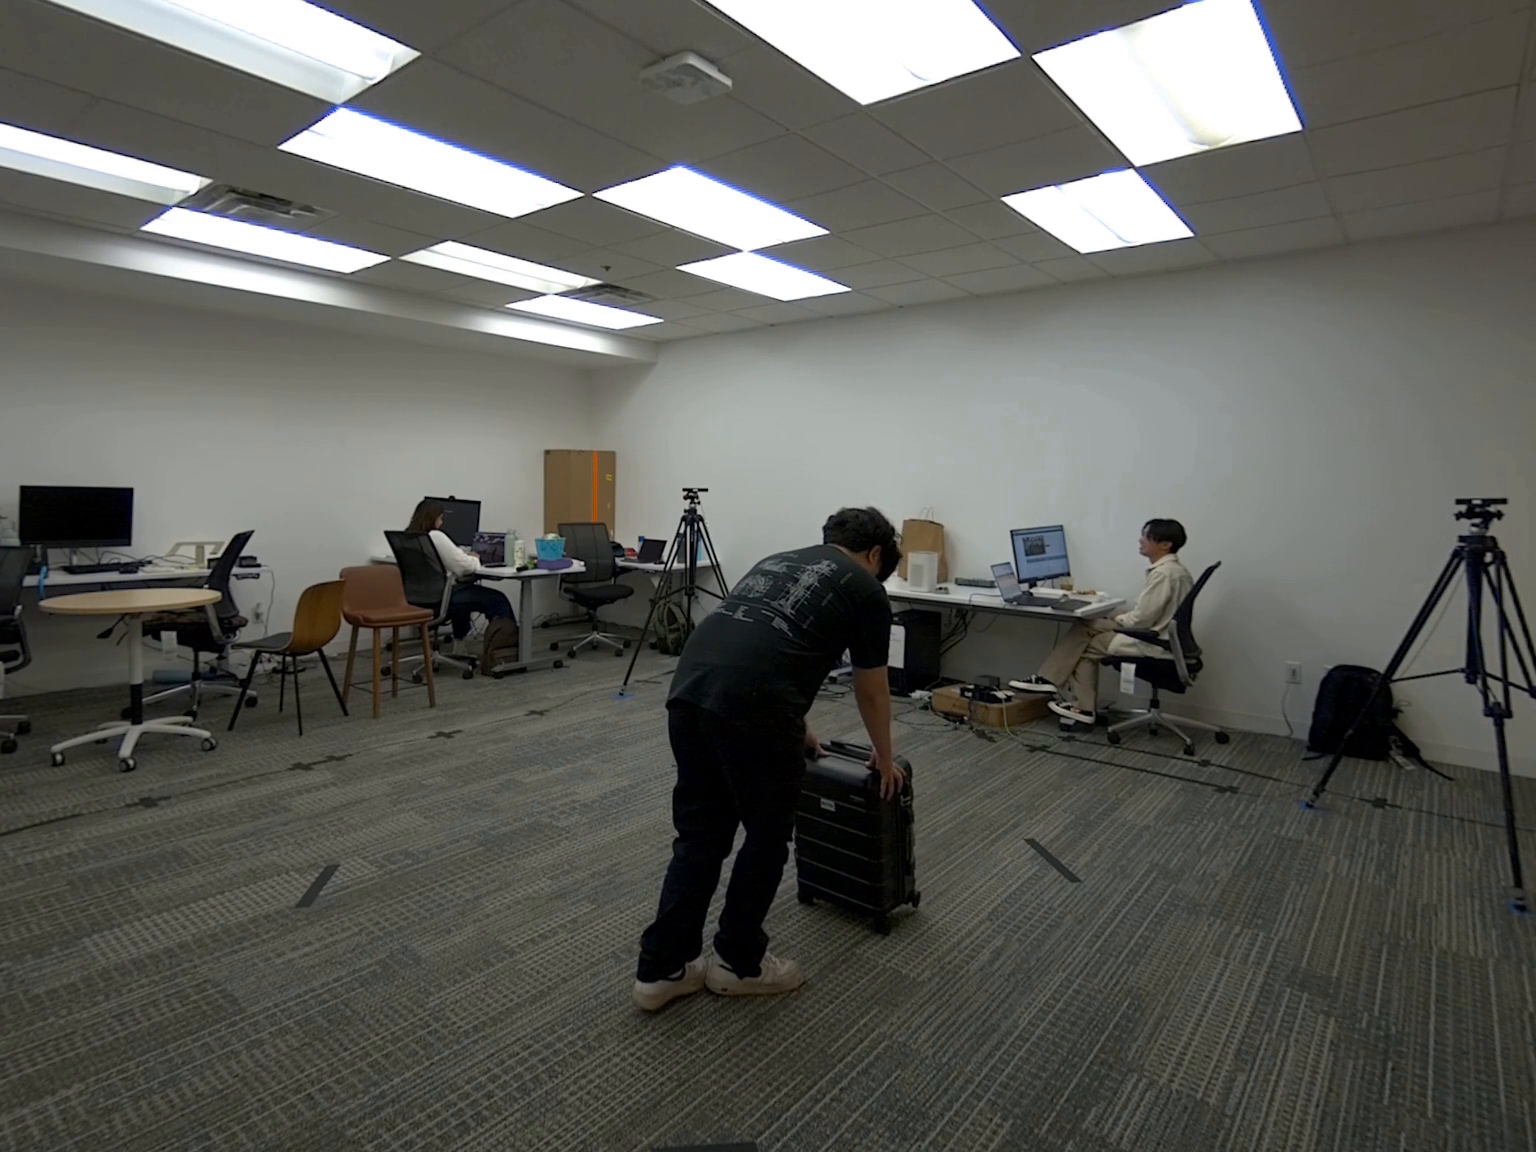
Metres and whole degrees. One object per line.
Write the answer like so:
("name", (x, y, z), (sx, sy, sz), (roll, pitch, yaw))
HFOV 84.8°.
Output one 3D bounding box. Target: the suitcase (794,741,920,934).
("suitcase", (0.279, 0.831, 2.799), (0.388, 0.543, 0.243), (5, 14, 40))
